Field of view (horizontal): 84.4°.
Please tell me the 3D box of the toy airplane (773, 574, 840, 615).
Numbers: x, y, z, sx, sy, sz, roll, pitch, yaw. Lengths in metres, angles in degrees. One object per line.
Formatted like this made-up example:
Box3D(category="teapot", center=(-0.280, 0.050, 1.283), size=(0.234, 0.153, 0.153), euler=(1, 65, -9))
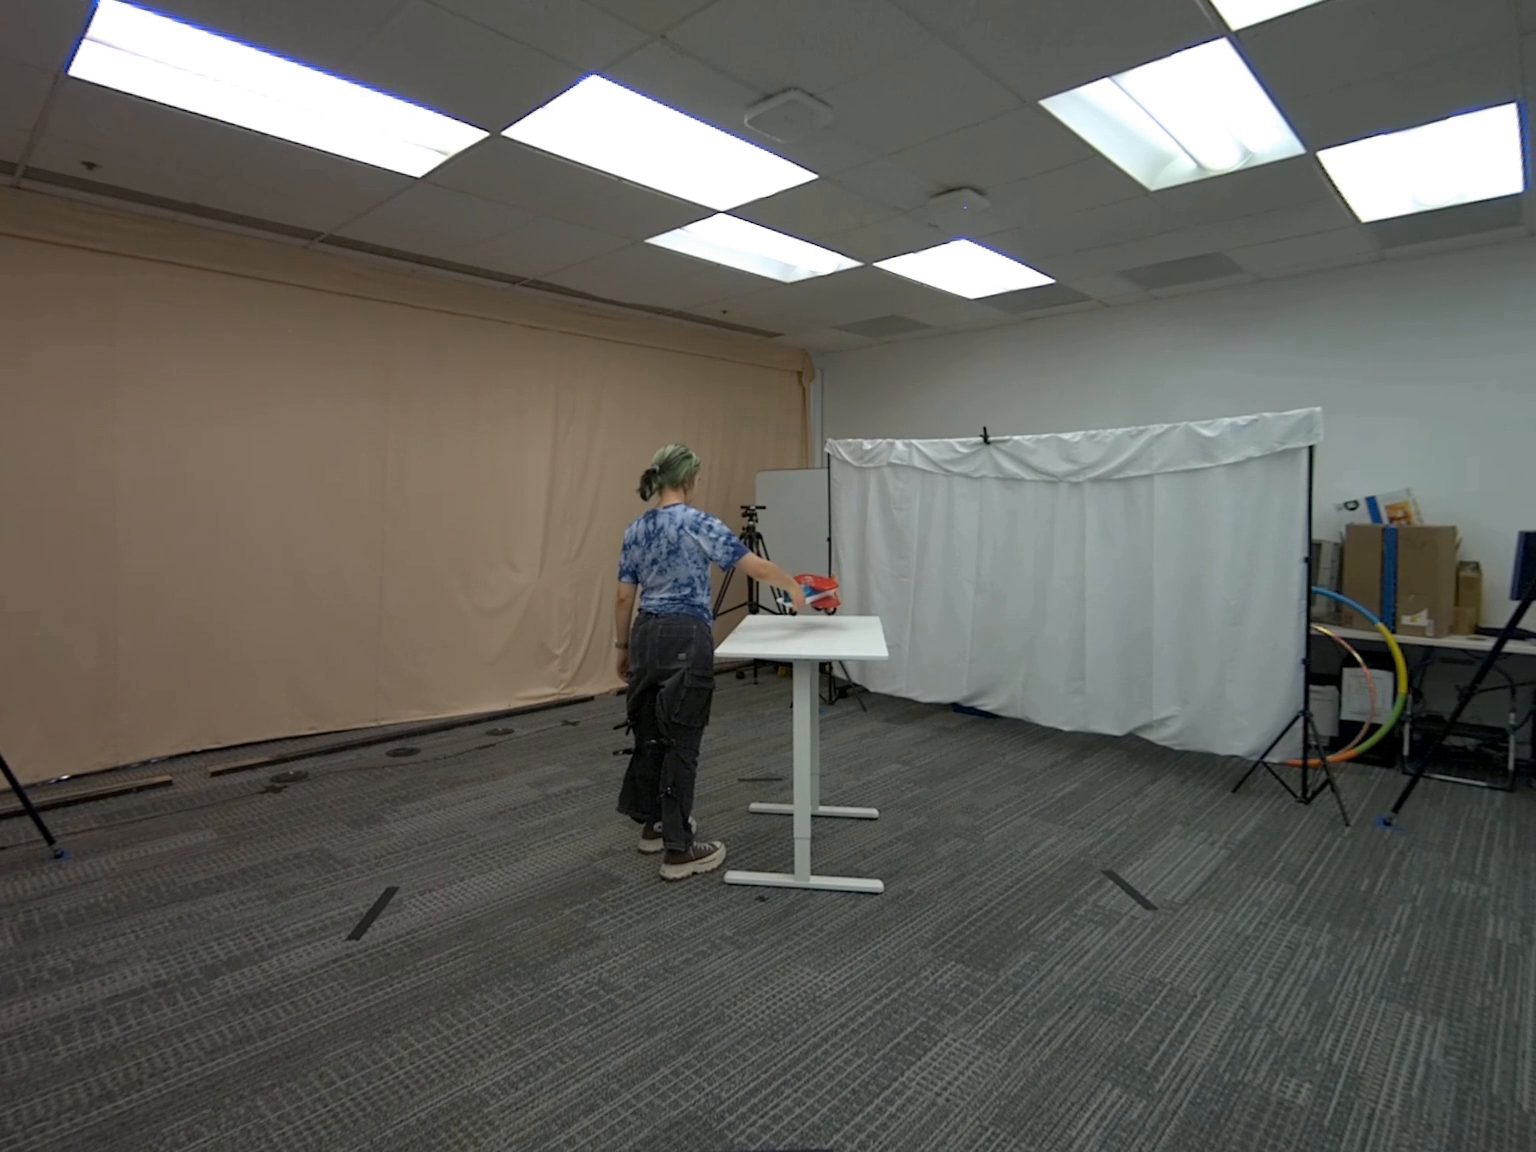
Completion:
Box3D(category="toy airplane", center=(0.183, 0.087, 3.509), size=(0.258, 0.156, 0.253), euler=(7, 8, 28))
